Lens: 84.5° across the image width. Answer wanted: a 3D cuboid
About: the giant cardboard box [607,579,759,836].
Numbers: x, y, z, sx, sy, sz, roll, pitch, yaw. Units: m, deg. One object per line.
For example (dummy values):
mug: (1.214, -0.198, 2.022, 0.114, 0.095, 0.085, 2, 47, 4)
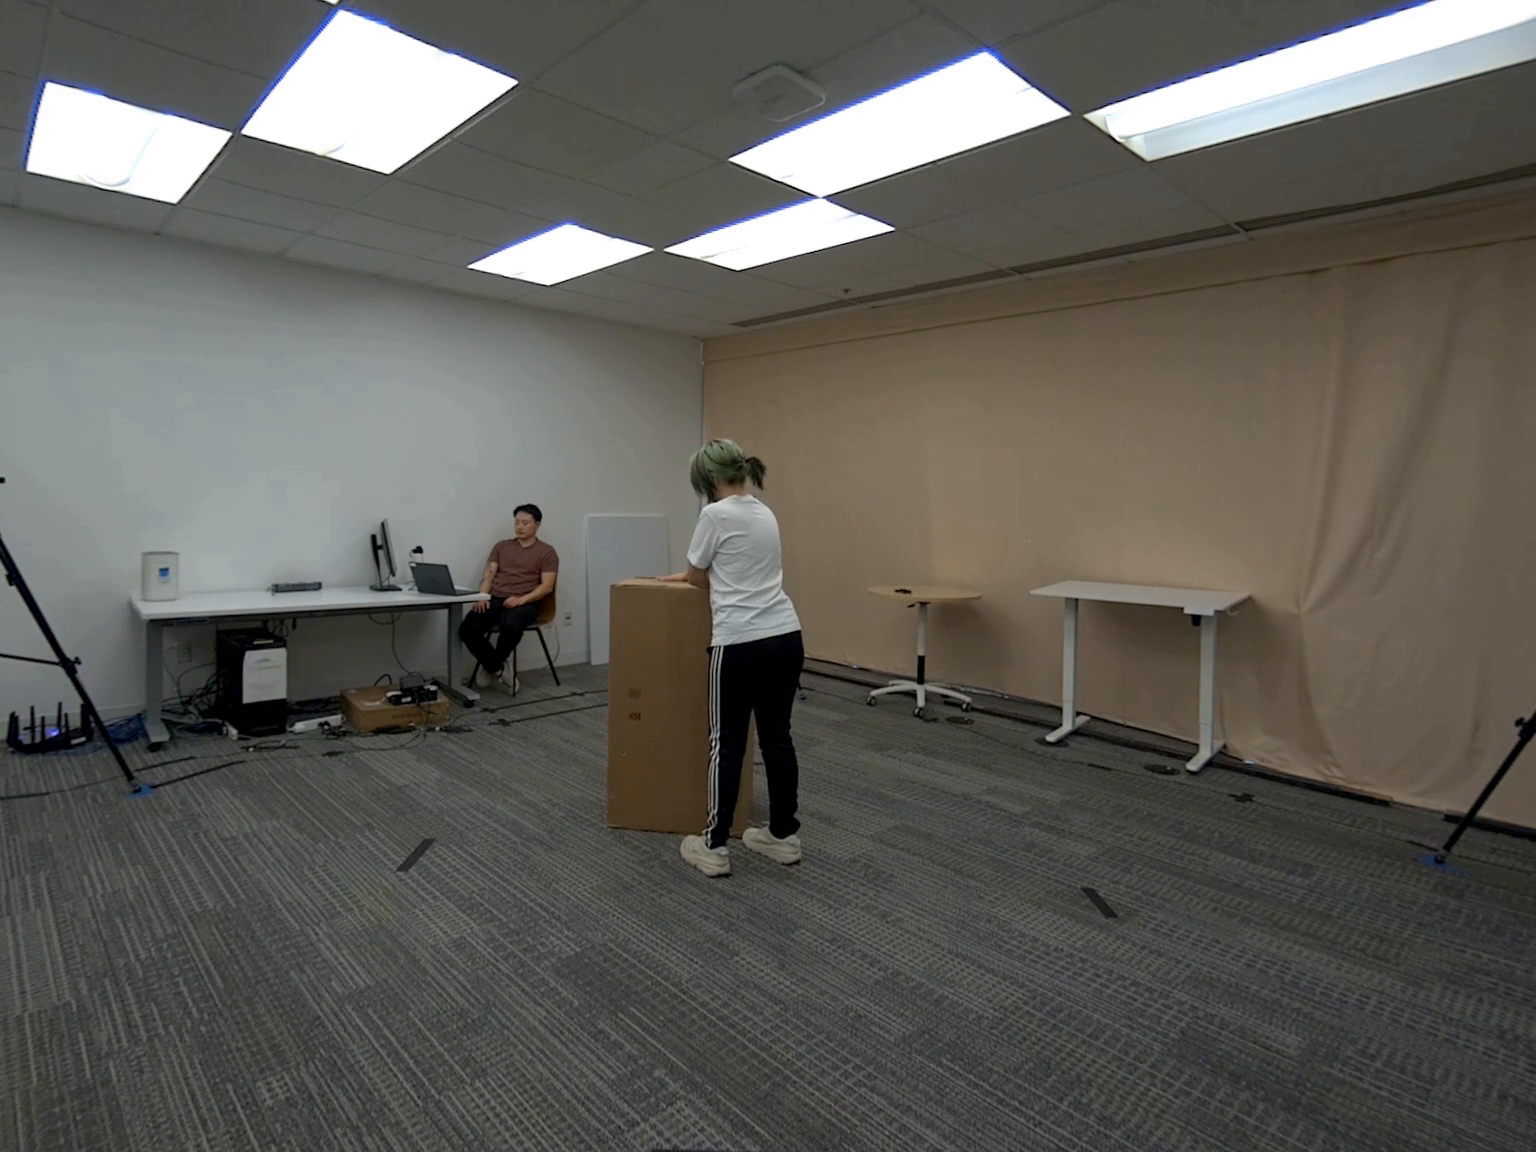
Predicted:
giant cardboard box: (-0.373, 0.541, 3.678, 0.587, 1.025, 0.445, 2, 3, 7)
